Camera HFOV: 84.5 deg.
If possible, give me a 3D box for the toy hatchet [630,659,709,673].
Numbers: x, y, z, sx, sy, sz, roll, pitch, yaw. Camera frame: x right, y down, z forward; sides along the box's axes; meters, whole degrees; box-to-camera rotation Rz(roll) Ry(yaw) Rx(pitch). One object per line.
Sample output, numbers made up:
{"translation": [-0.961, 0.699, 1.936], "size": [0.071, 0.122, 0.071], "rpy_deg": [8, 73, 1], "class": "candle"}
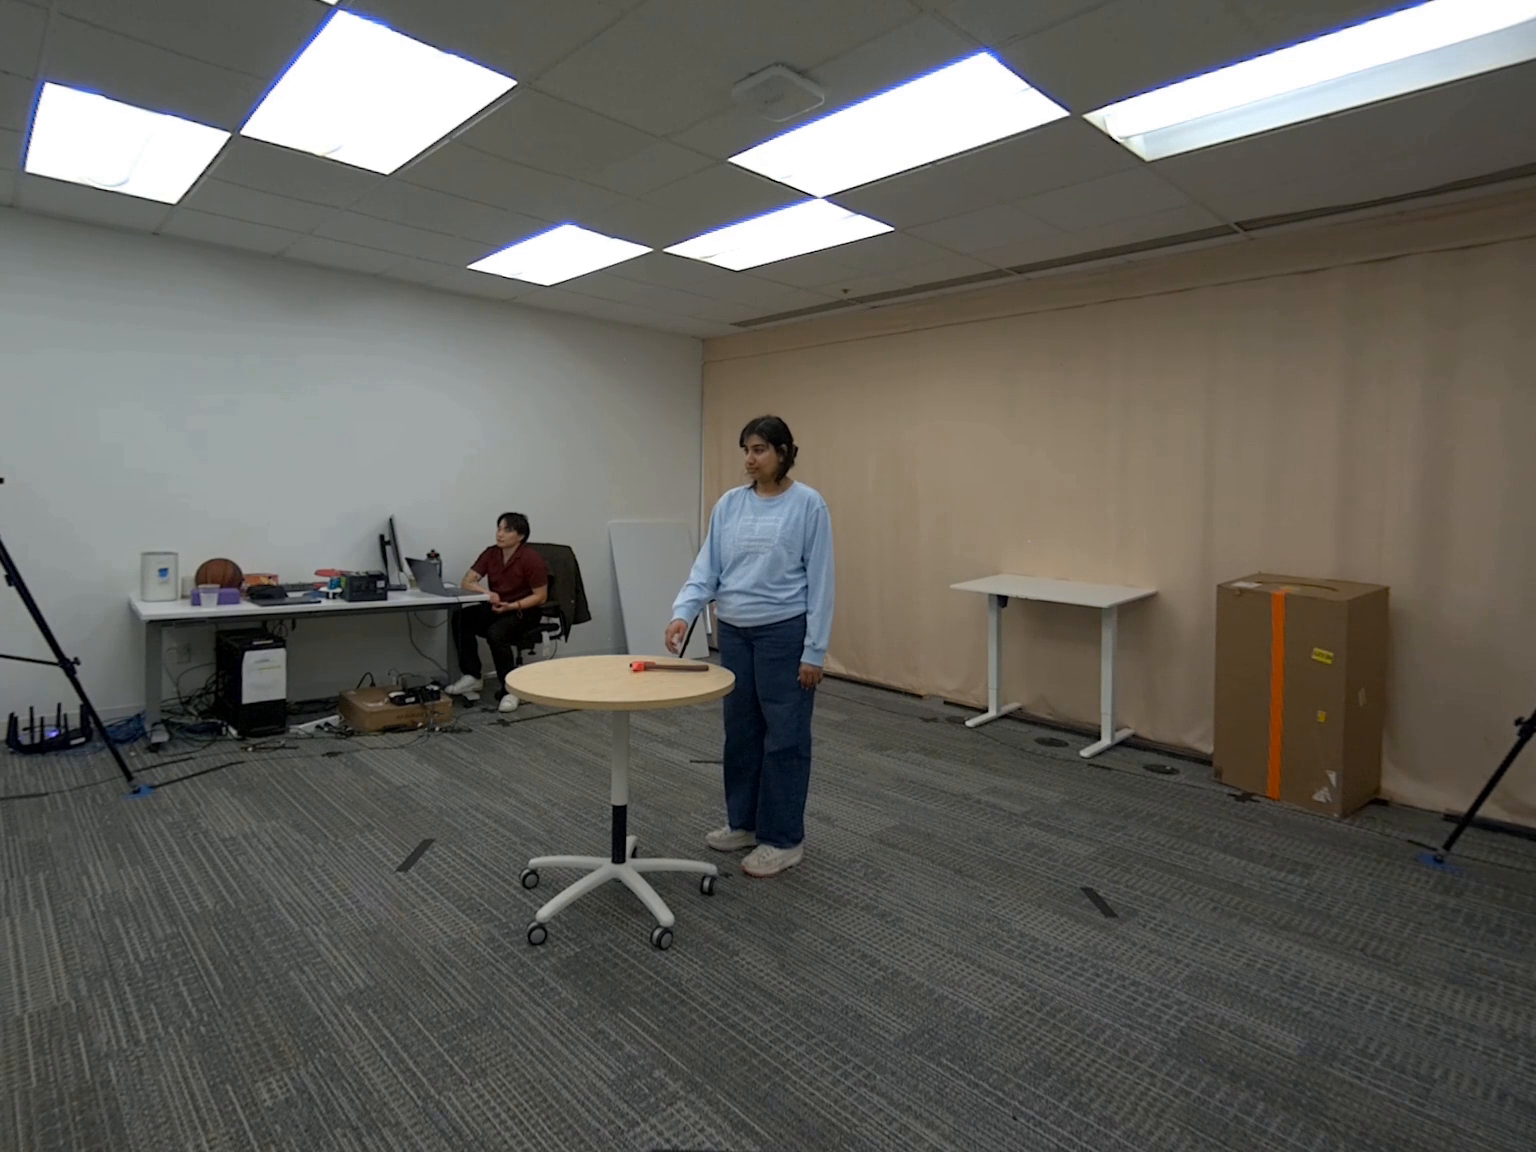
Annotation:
{"translation": [-0.362, 0.318, 2.974], "size": [0.267, 0.029, 0.132], "rpy_deg": [2, 0, -14], "class": "toy hatchet"}
